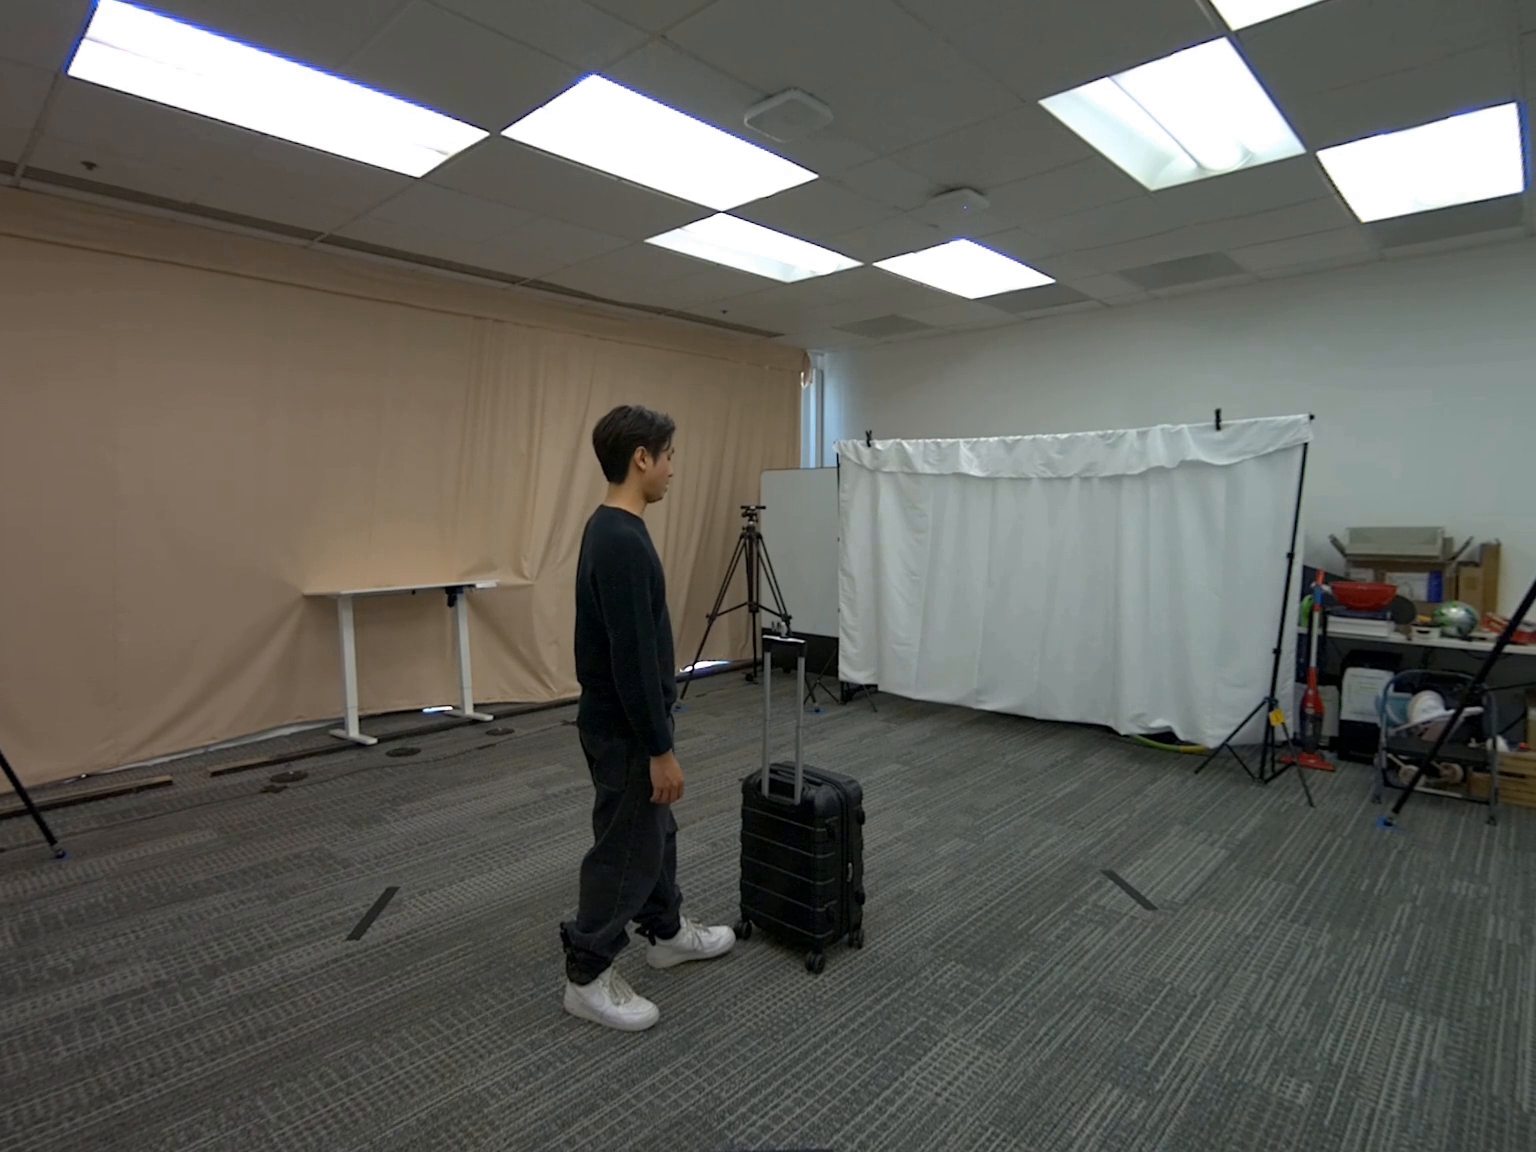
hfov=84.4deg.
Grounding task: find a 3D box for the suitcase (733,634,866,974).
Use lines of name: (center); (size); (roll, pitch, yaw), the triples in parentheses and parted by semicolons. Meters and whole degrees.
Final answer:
suitcase: (0.111, 0.691, 2.692); (0.397, 0.978, 0.249); (2, 1, 42)
